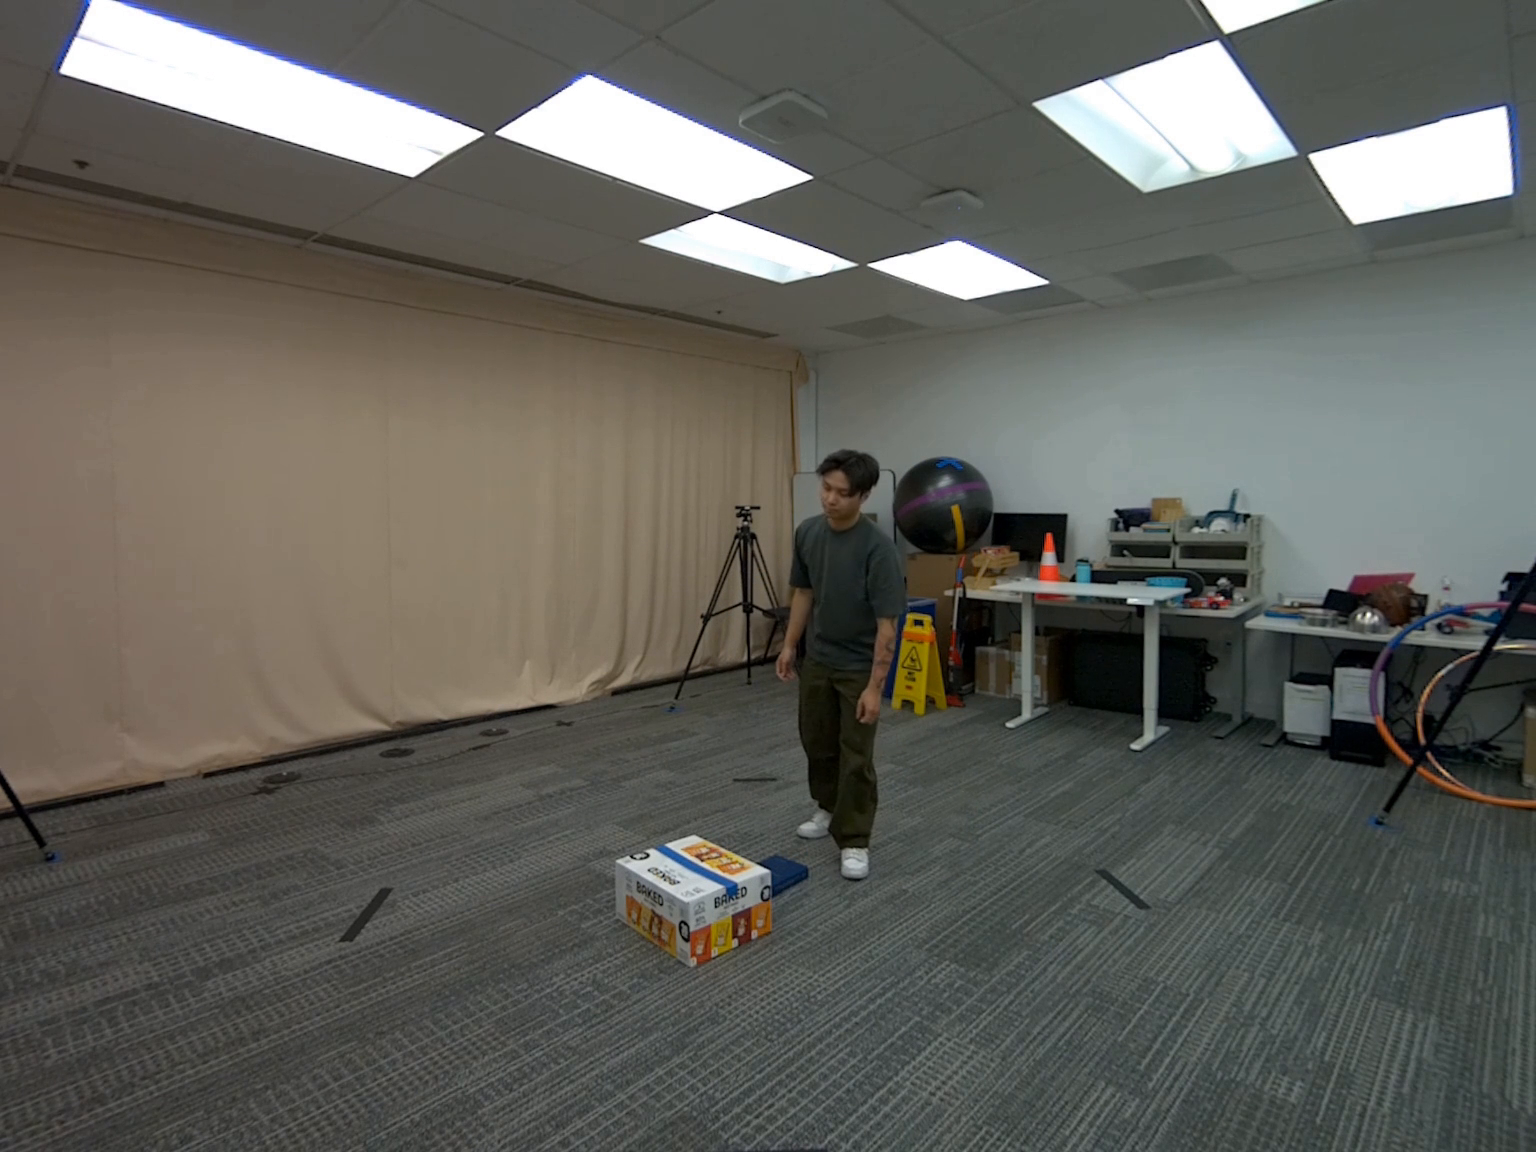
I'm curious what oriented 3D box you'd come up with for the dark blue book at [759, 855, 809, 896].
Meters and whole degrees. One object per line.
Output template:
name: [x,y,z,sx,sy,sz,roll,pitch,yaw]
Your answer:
dark blue book: [0.019,1.111,3.109,0.169,0.045,0.238,4,7,42]
